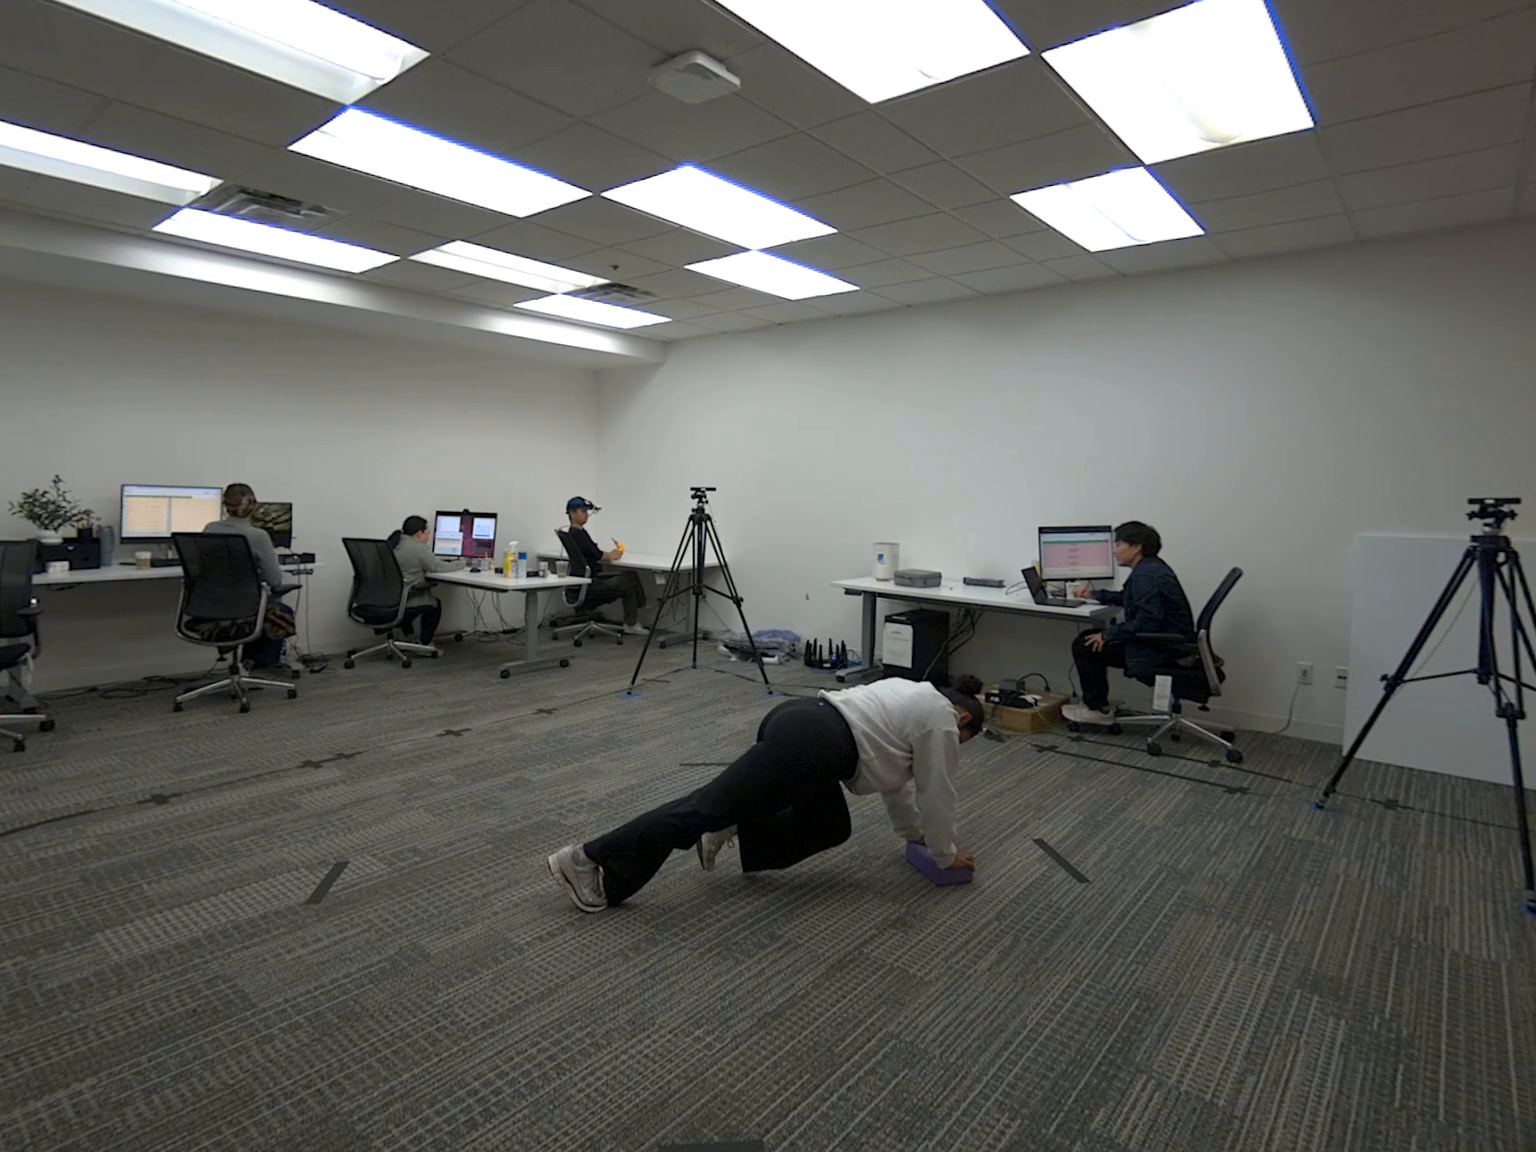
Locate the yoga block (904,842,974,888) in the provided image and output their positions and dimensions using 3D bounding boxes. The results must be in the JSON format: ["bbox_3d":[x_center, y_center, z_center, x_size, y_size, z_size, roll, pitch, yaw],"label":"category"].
[{"bbox_3d":[0.625,1.056,3.136,0.146,0.076,0.235,1,5,-21],"label":"yoga block"}]
